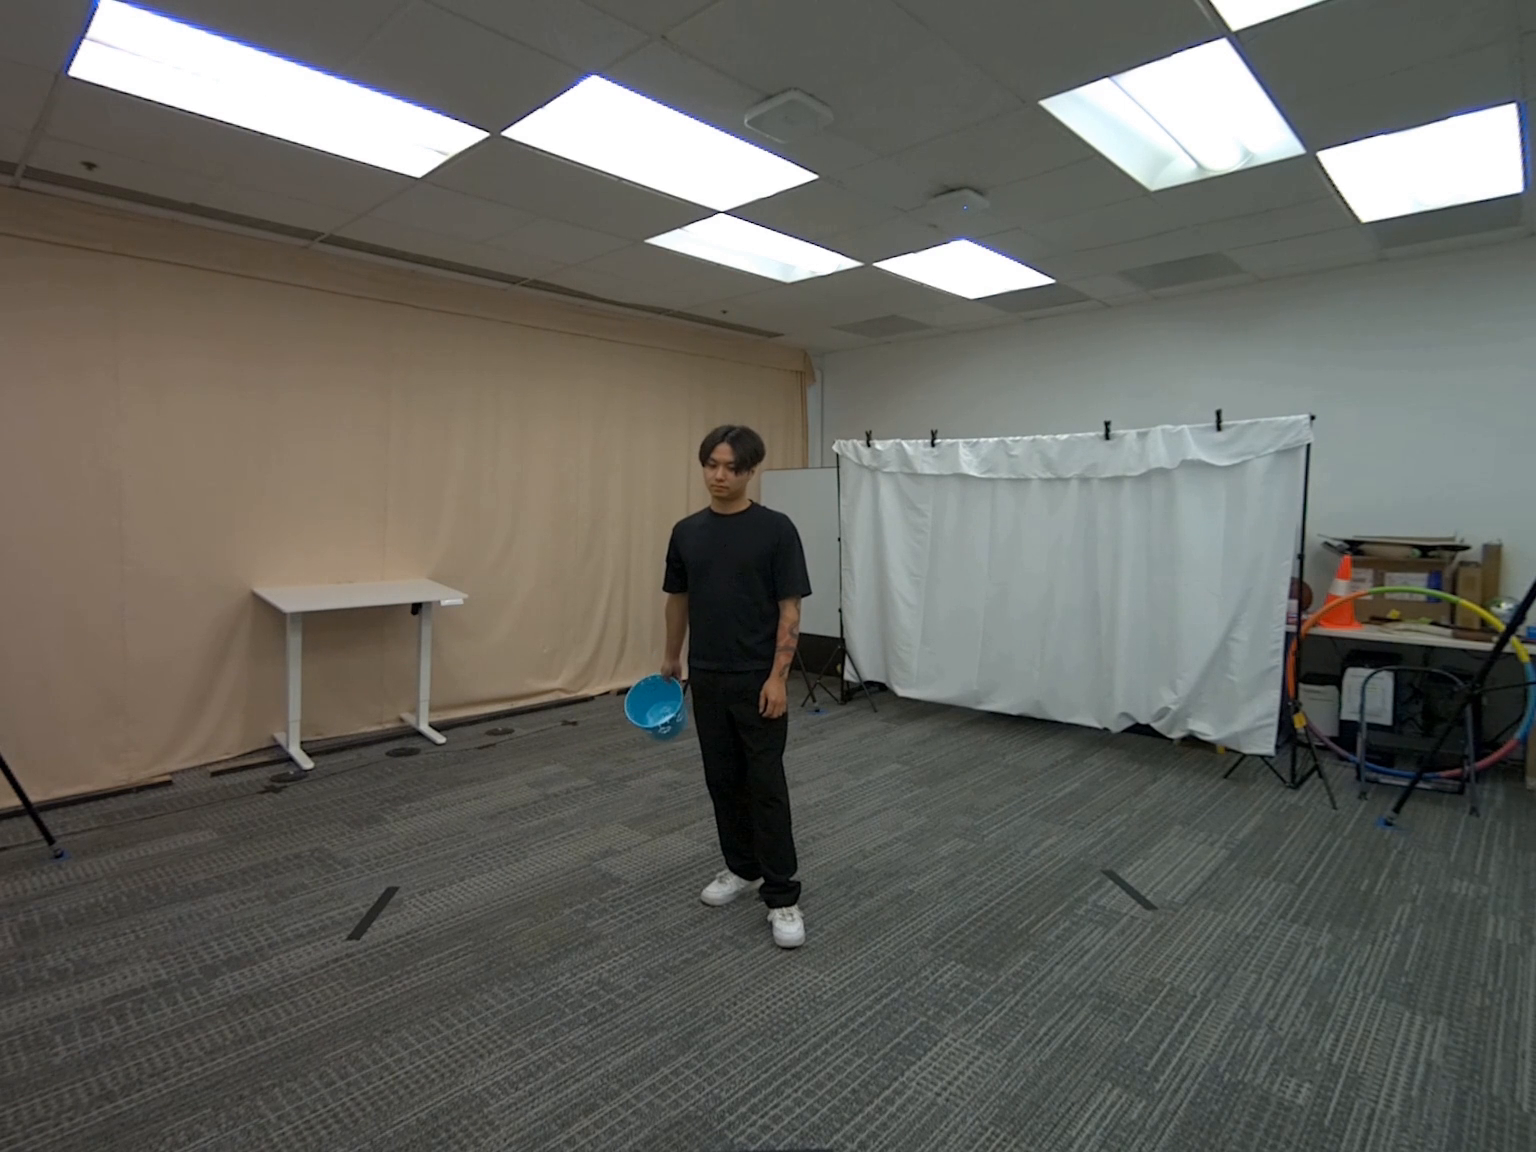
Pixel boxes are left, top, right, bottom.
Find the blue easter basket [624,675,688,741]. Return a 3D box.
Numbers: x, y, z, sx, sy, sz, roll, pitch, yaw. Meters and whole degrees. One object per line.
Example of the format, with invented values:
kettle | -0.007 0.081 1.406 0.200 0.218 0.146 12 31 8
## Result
blue easter basket | -0.414 0.512 3.230 0.249 0.245 0.151 1 -40 19
